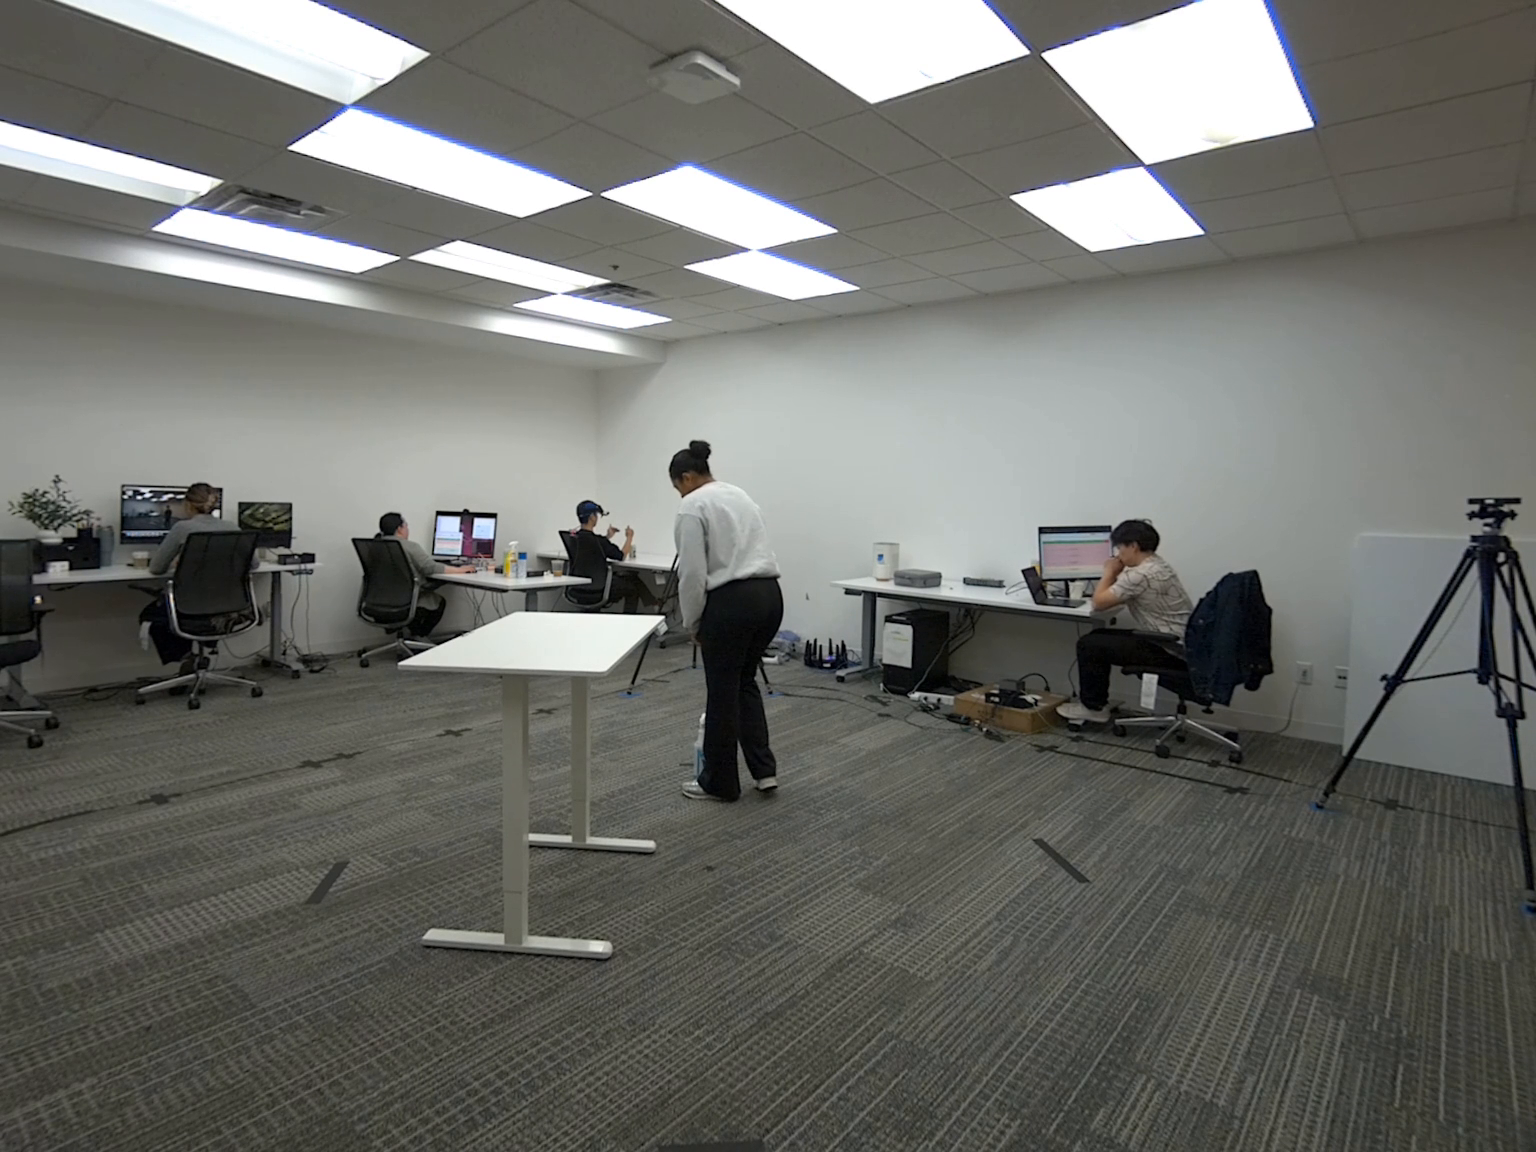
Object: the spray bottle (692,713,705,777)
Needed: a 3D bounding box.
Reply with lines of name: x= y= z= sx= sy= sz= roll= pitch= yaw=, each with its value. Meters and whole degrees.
spray bottle: x=-0.328 y=0.820 z=4.108 sx=0.089 sy=0.296 sz=0.088 roll=2 pitch=3 yaw=27
